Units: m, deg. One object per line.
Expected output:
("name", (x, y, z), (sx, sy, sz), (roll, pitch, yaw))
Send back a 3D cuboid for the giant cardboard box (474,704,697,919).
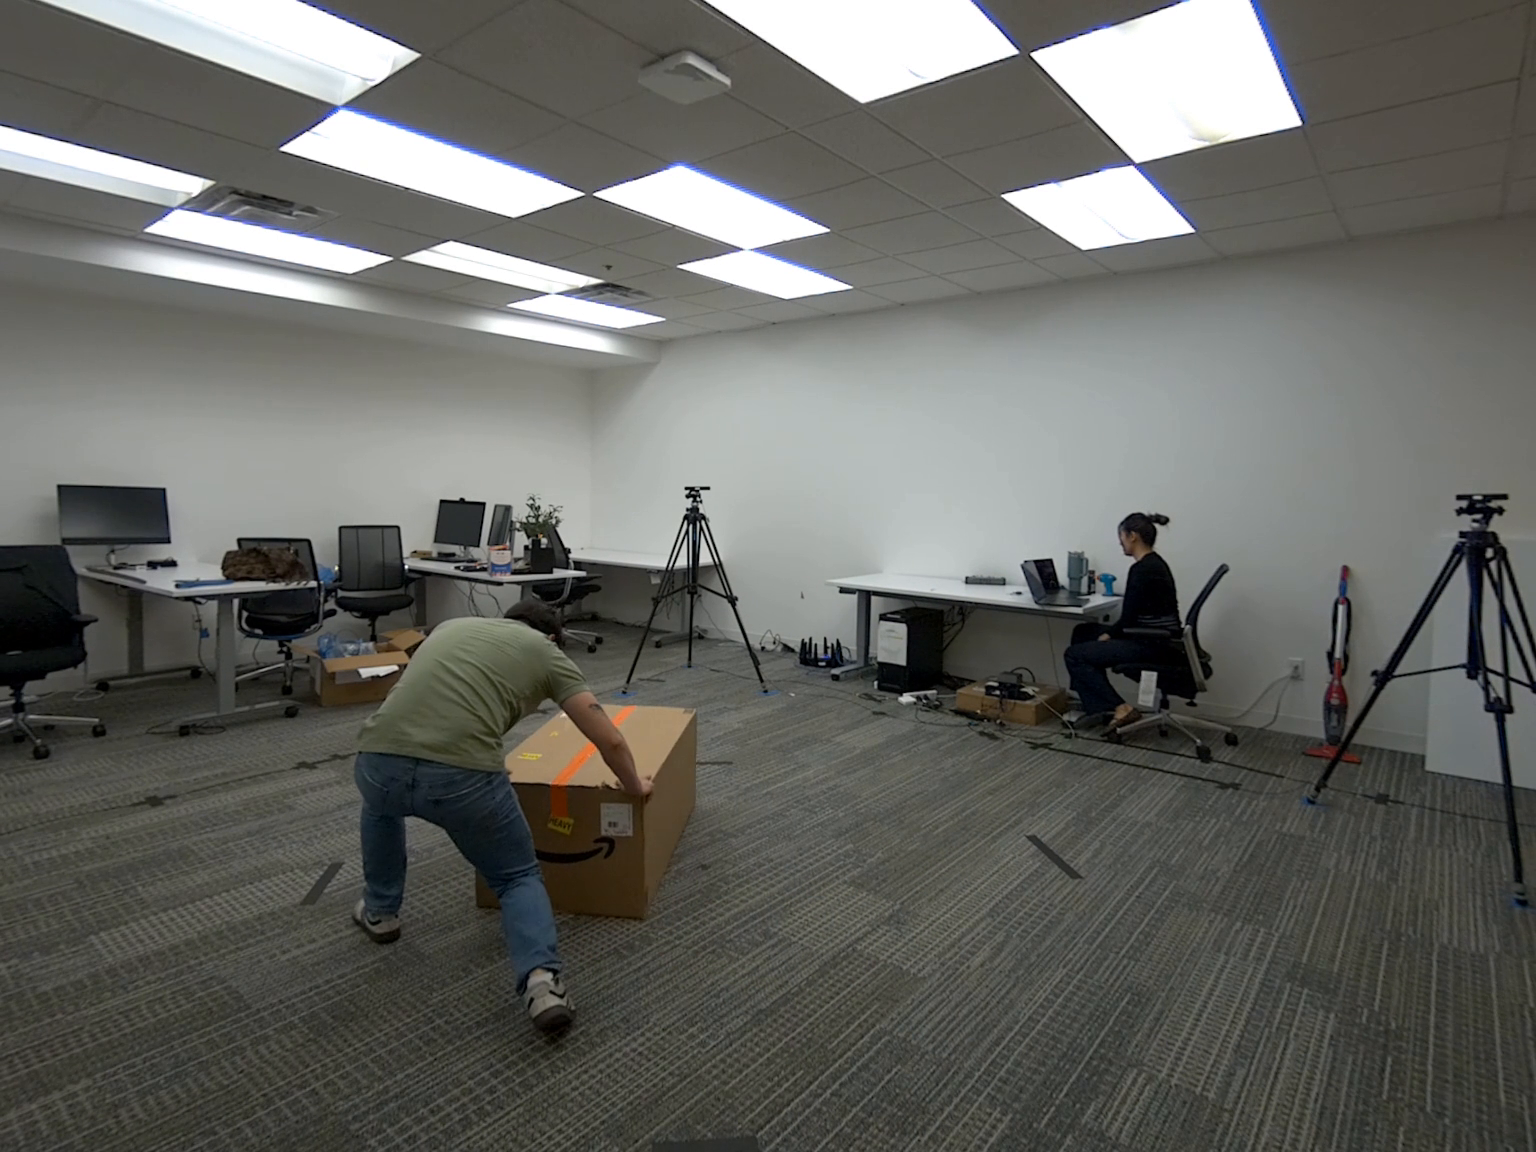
("giant cardboard box", (-0.645, 0.830, 3.254), (0.582, 0.424, 1.023), (0, 5, 5))
